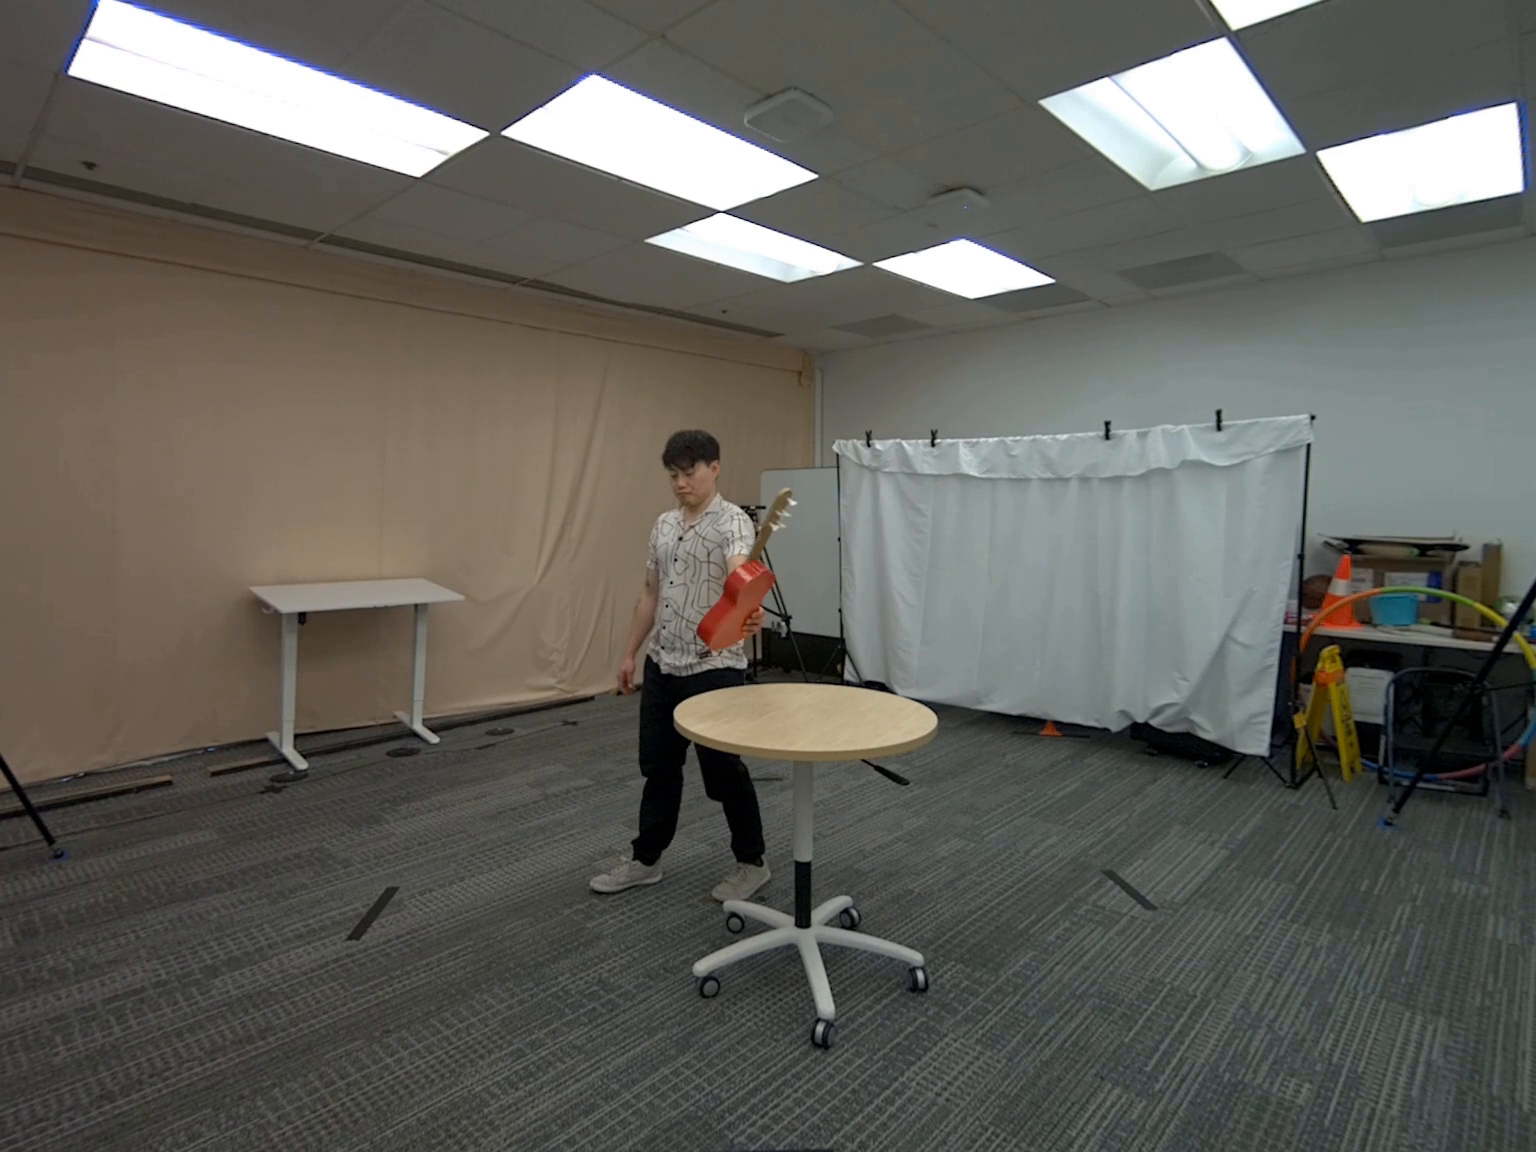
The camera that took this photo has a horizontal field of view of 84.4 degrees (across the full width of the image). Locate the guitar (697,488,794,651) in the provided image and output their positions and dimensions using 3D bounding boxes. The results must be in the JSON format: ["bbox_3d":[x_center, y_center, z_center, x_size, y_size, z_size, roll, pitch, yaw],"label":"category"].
[{"bbox_3d":[-0.061,-0.002,2.246,0.073,0.495,0.188,41,40,25],"label":"guitar"}]
